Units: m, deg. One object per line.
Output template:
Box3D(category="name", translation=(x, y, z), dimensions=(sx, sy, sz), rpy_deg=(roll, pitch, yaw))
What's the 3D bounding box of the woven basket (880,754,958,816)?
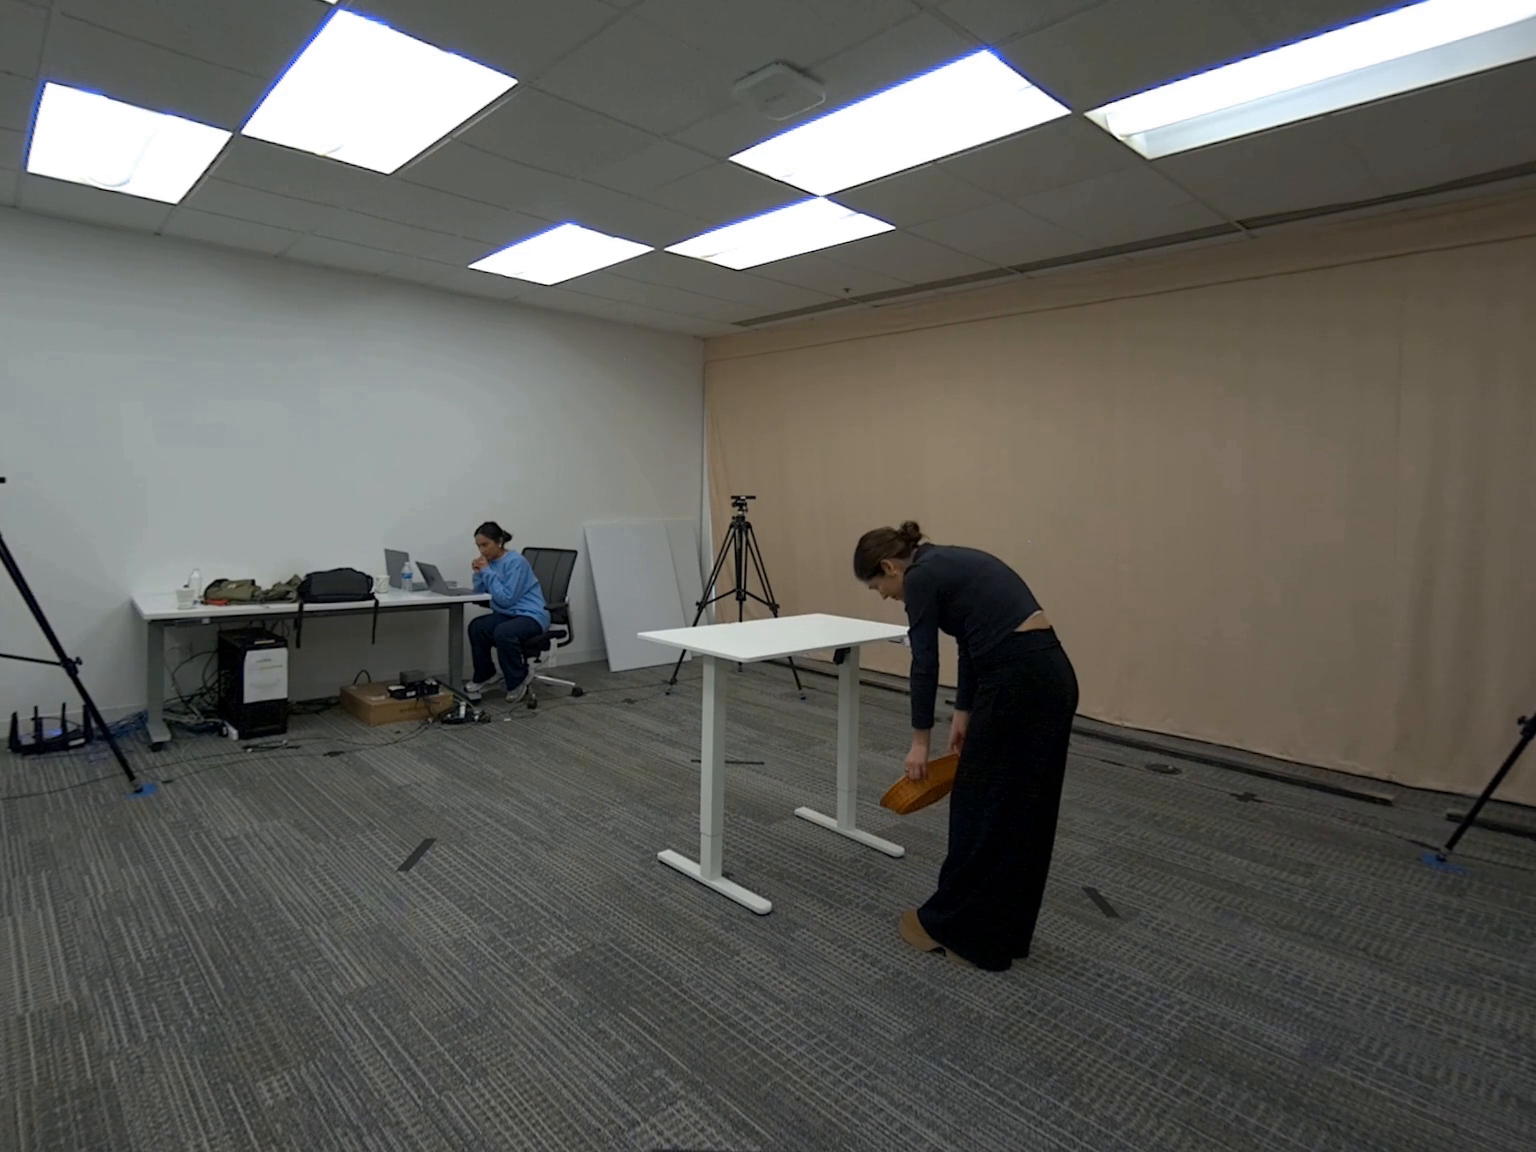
Box3D(category="woven basket", translation=(0.500, 0.674, 2.743), dimensions=(0.342, 0.251, 0.075), rpy_deg=(-2, 44, -47))
